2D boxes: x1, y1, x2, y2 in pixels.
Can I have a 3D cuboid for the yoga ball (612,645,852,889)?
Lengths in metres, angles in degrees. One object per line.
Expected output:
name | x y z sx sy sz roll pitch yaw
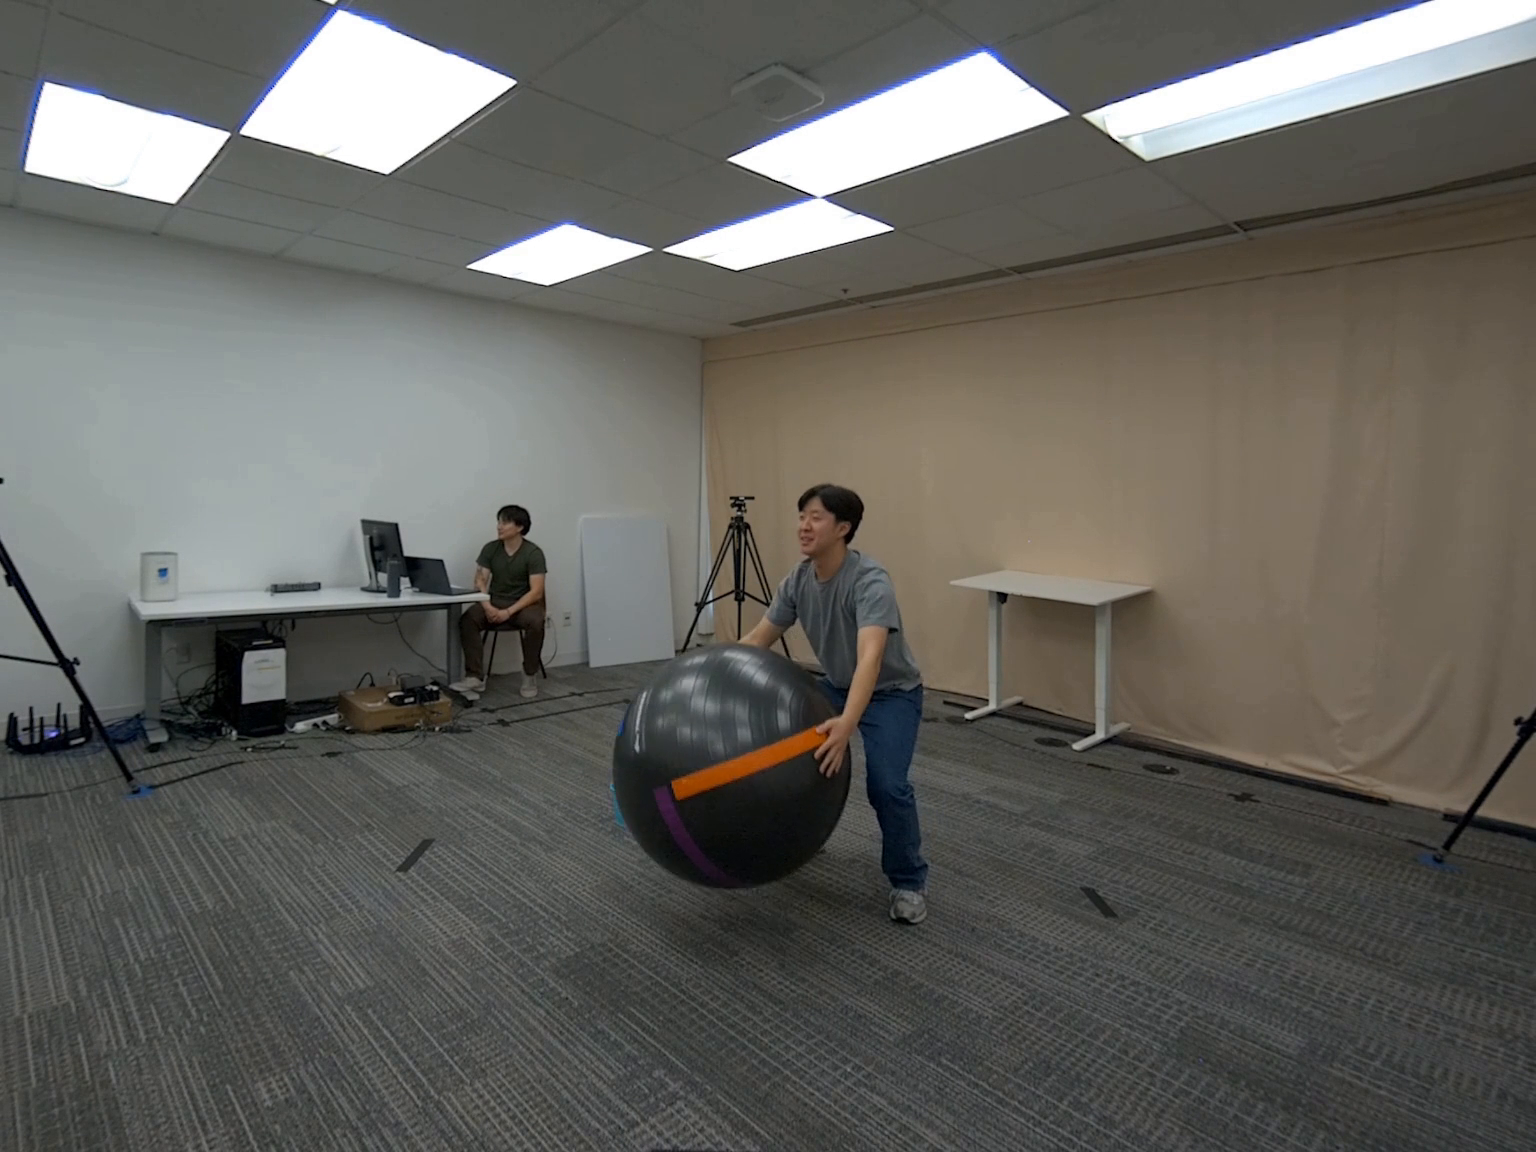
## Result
yoga ball | -0.134 0.581 2.687 0.757 0.756 0.761 1 4 -1
